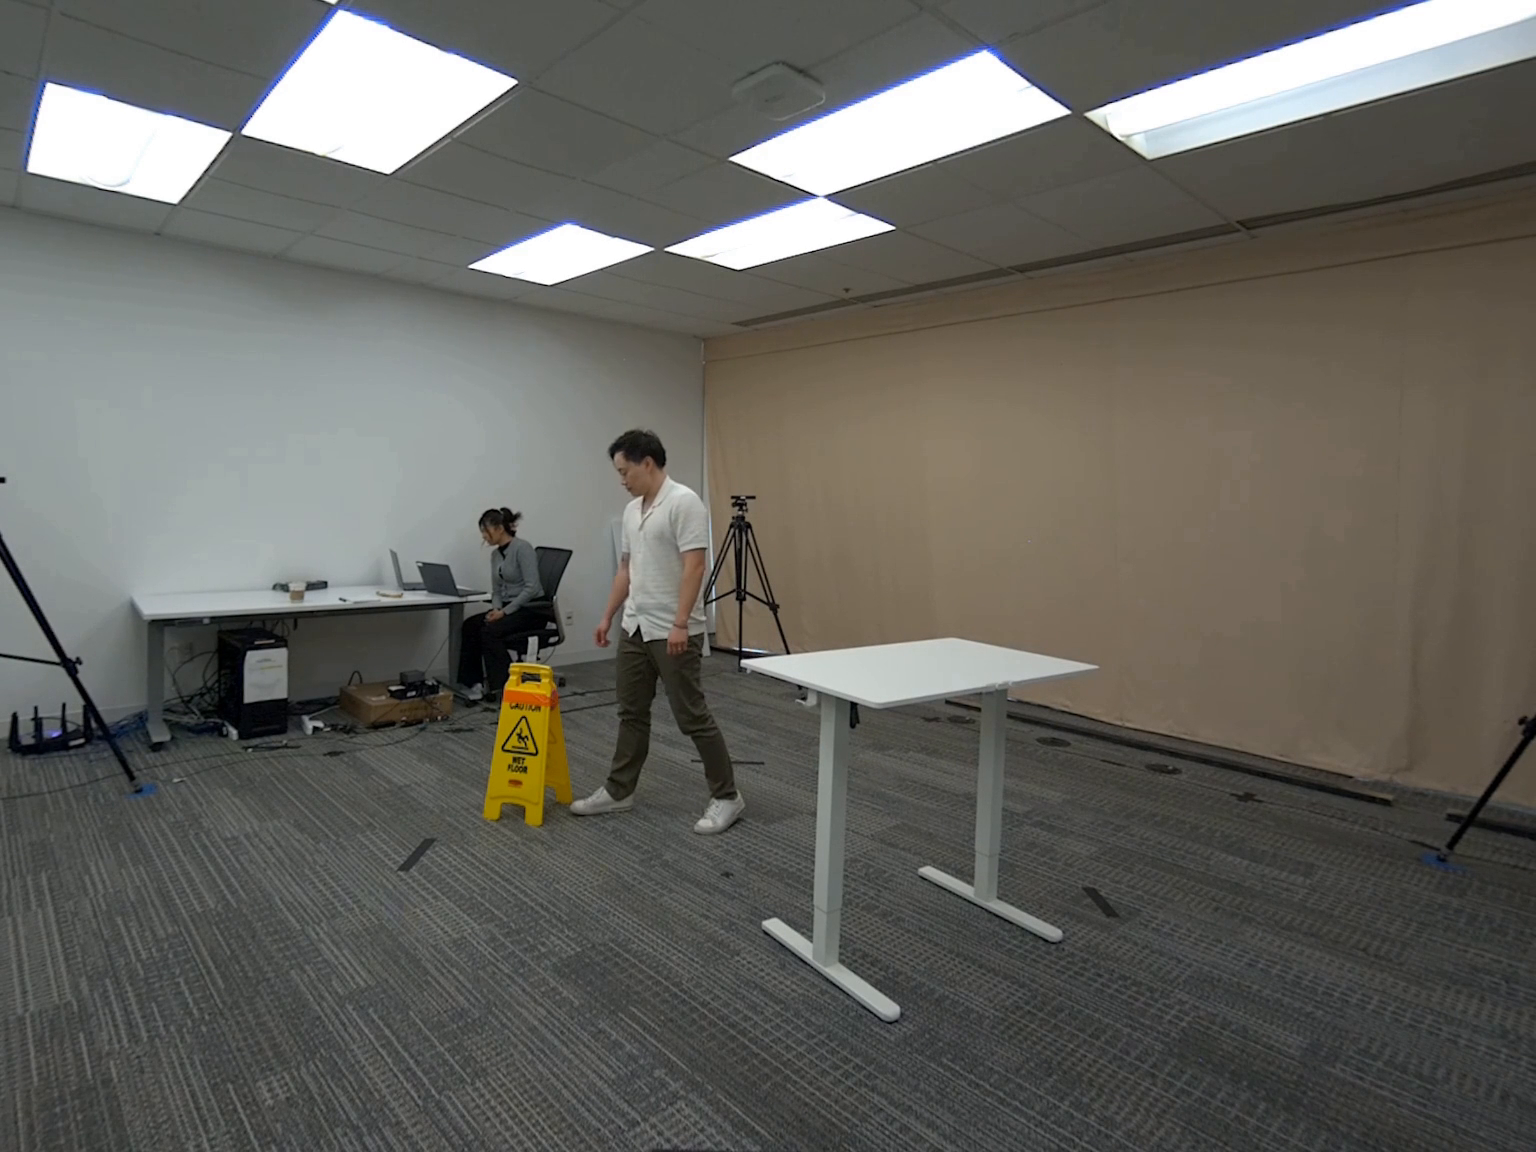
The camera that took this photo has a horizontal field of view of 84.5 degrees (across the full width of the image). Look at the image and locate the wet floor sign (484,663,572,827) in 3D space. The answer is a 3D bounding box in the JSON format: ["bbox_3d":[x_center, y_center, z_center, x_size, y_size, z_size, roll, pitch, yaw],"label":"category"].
[{"bbox_3d":[-1.048,0.704,3.681,0.286,0.644,0.287,4,4,14],"label":"wet floor sign"}]
